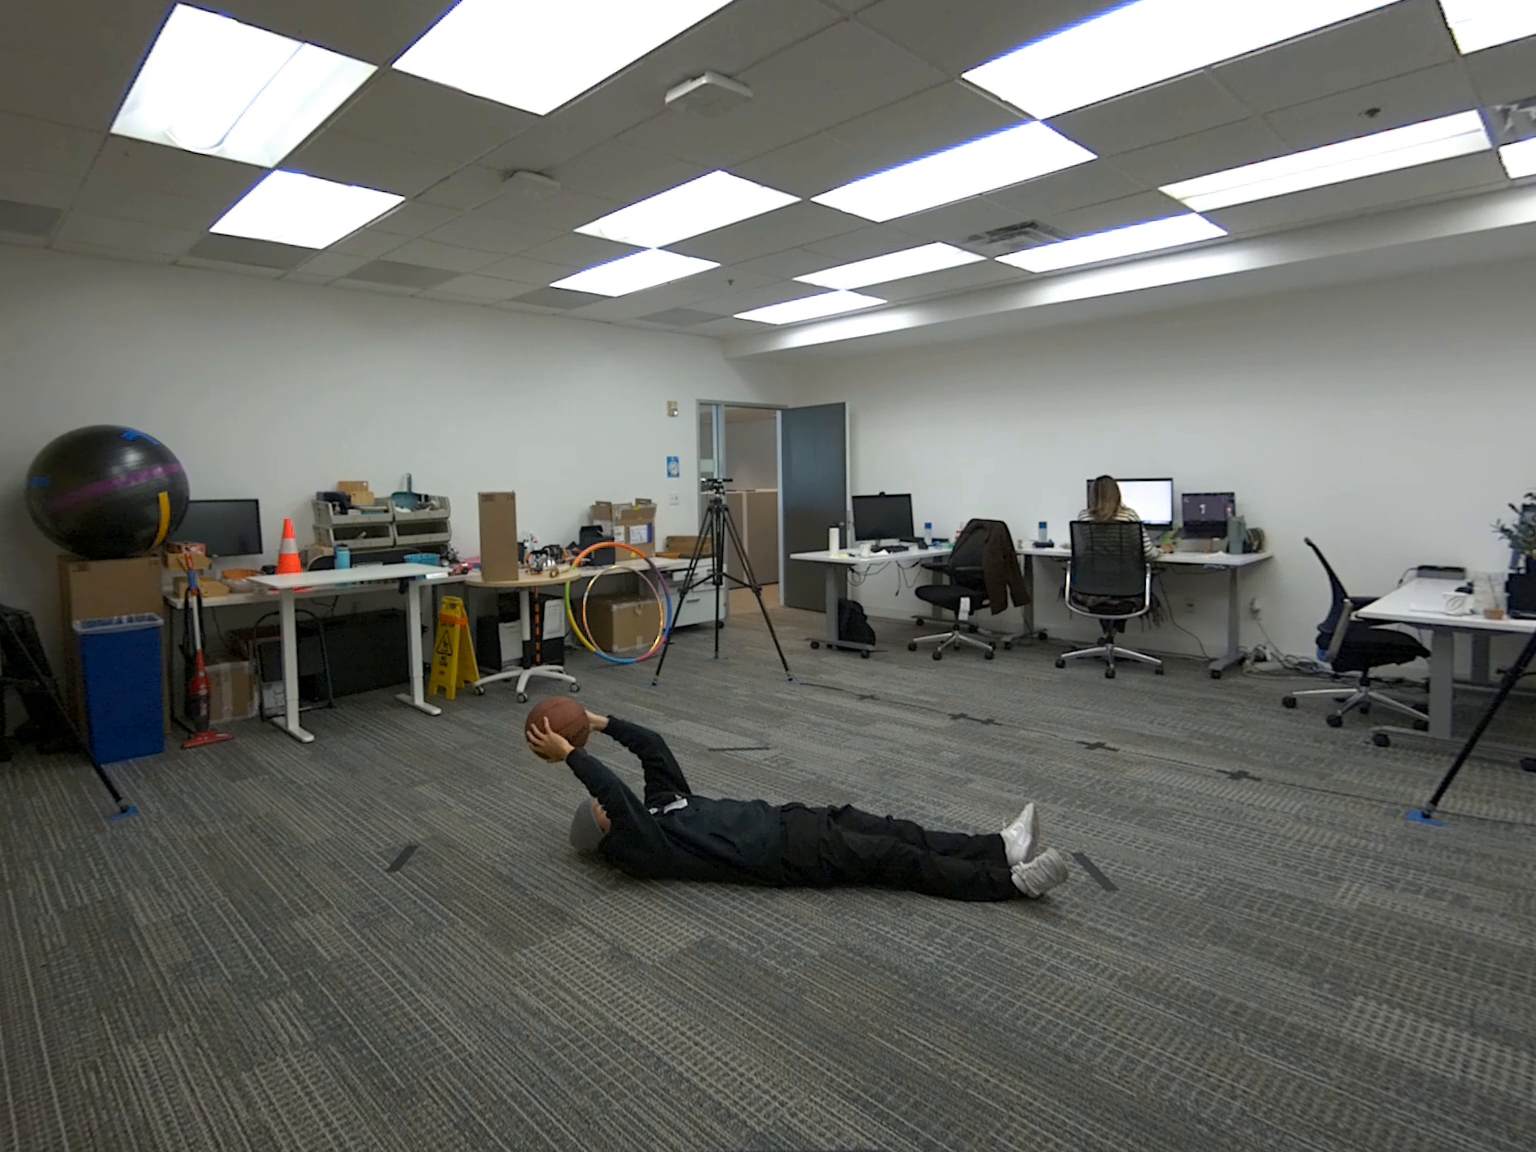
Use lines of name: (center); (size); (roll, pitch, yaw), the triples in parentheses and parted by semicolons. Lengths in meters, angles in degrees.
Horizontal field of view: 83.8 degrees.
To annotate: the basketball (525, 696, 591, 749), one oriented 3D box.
basketball: (-0.781, 0.566, 3.197); (0.236, 0.235, 0.237); (-1, 5, -2)
